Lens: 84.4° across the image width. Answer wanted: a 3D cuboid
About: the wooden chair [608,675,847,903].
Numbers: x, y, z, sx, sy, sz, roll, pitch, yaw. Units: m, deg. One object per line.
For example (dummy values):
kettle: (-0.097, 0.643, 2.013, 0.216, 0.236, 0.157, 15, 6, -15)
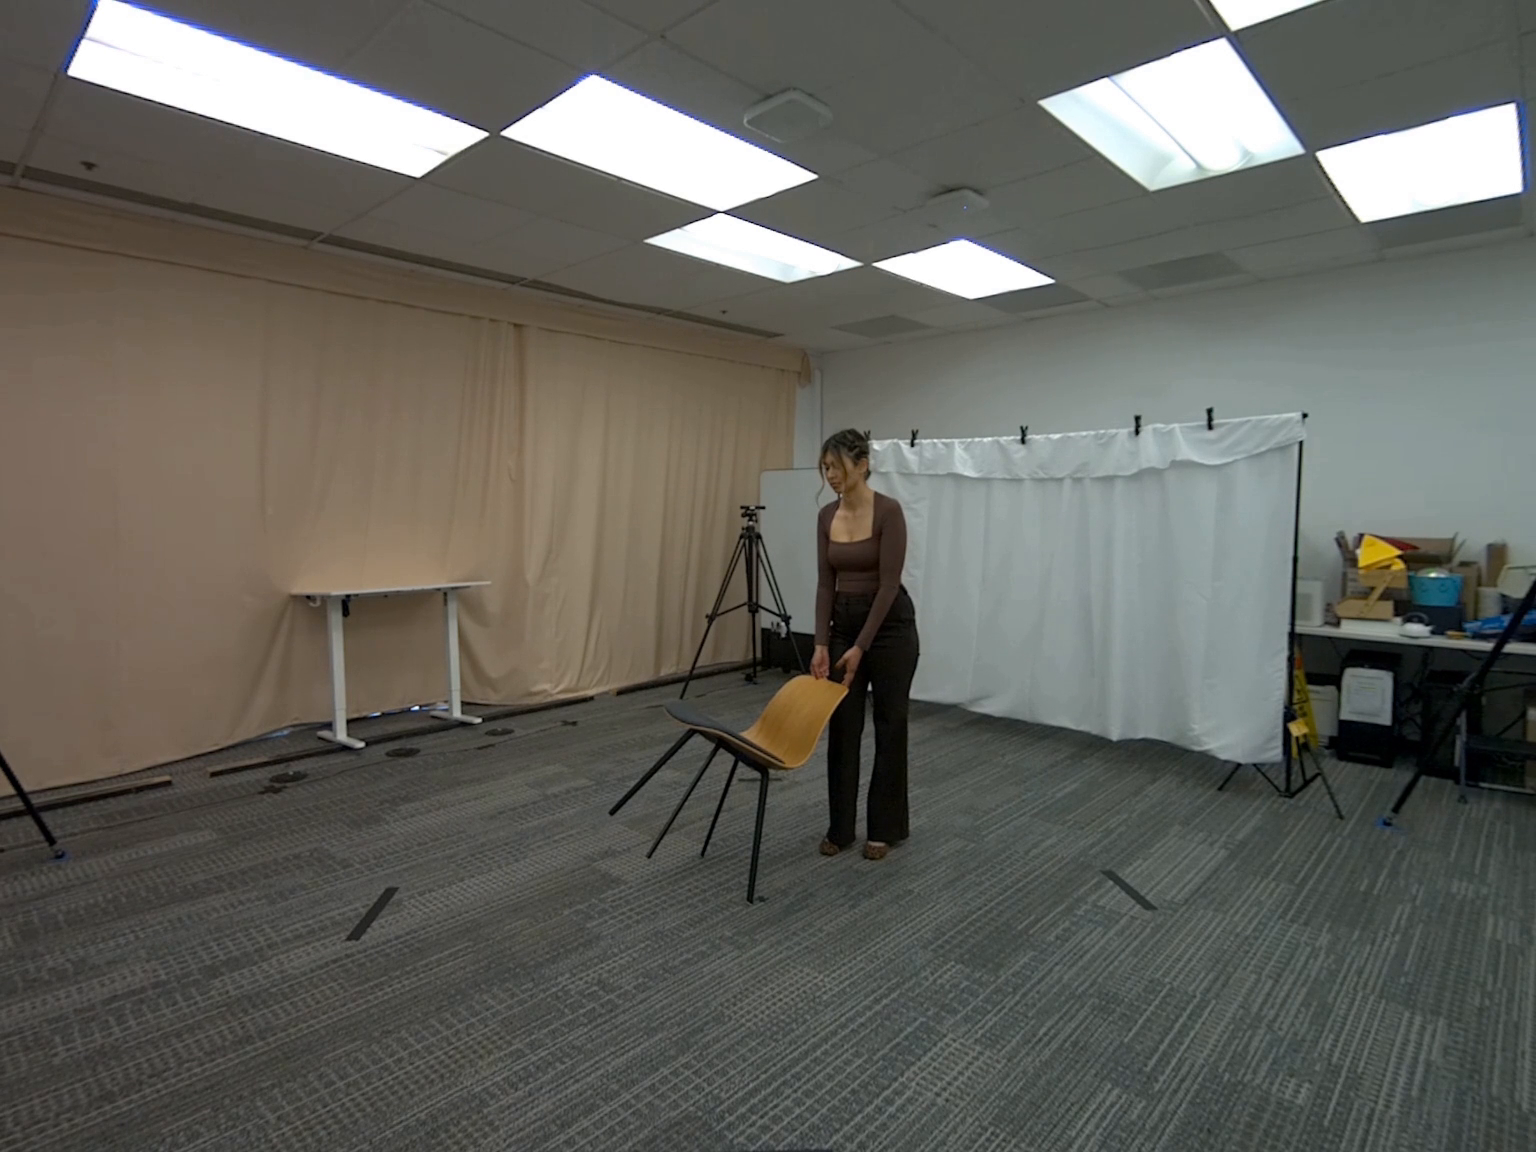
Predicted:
wooden chair: (-0.135, 0.644, 3.124, 0.510, 0.877, 0.490, 36, -12, -23)
